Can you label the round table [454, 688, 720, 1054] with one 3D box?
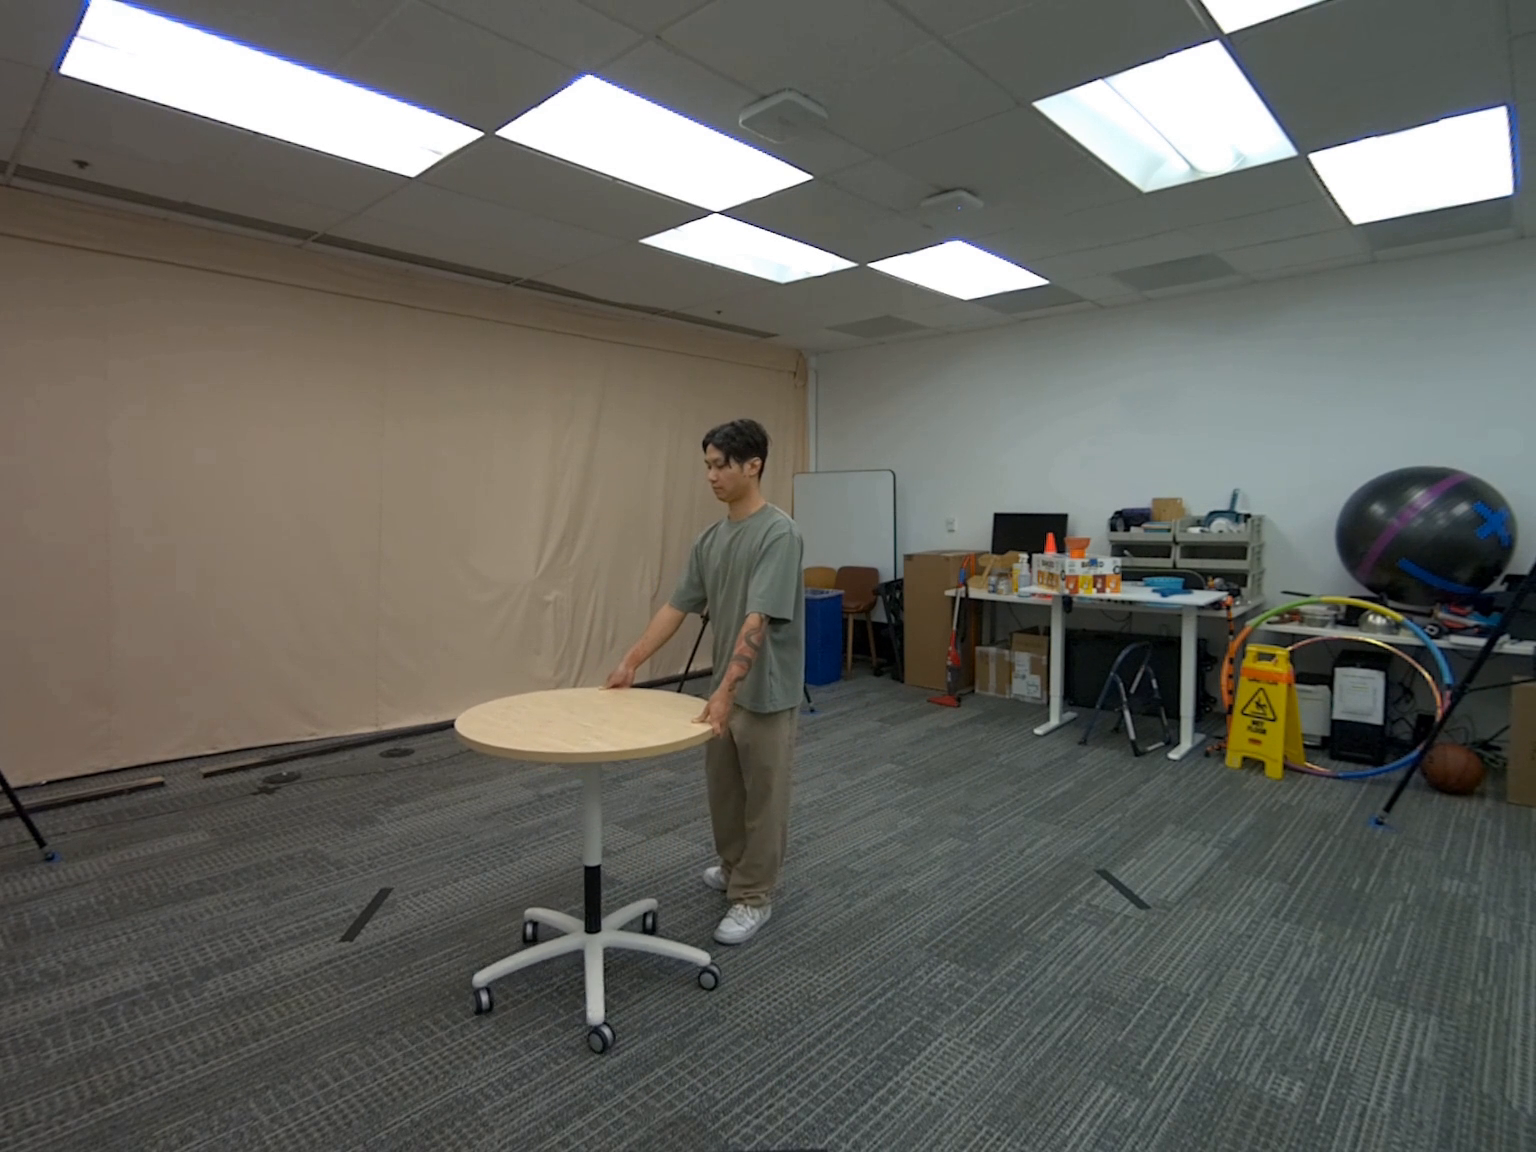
[{"bbox_3d":[-0.525,0.796,2.472,0.784,0.785,0.787,0,3,-2],"label":"round table"}]
